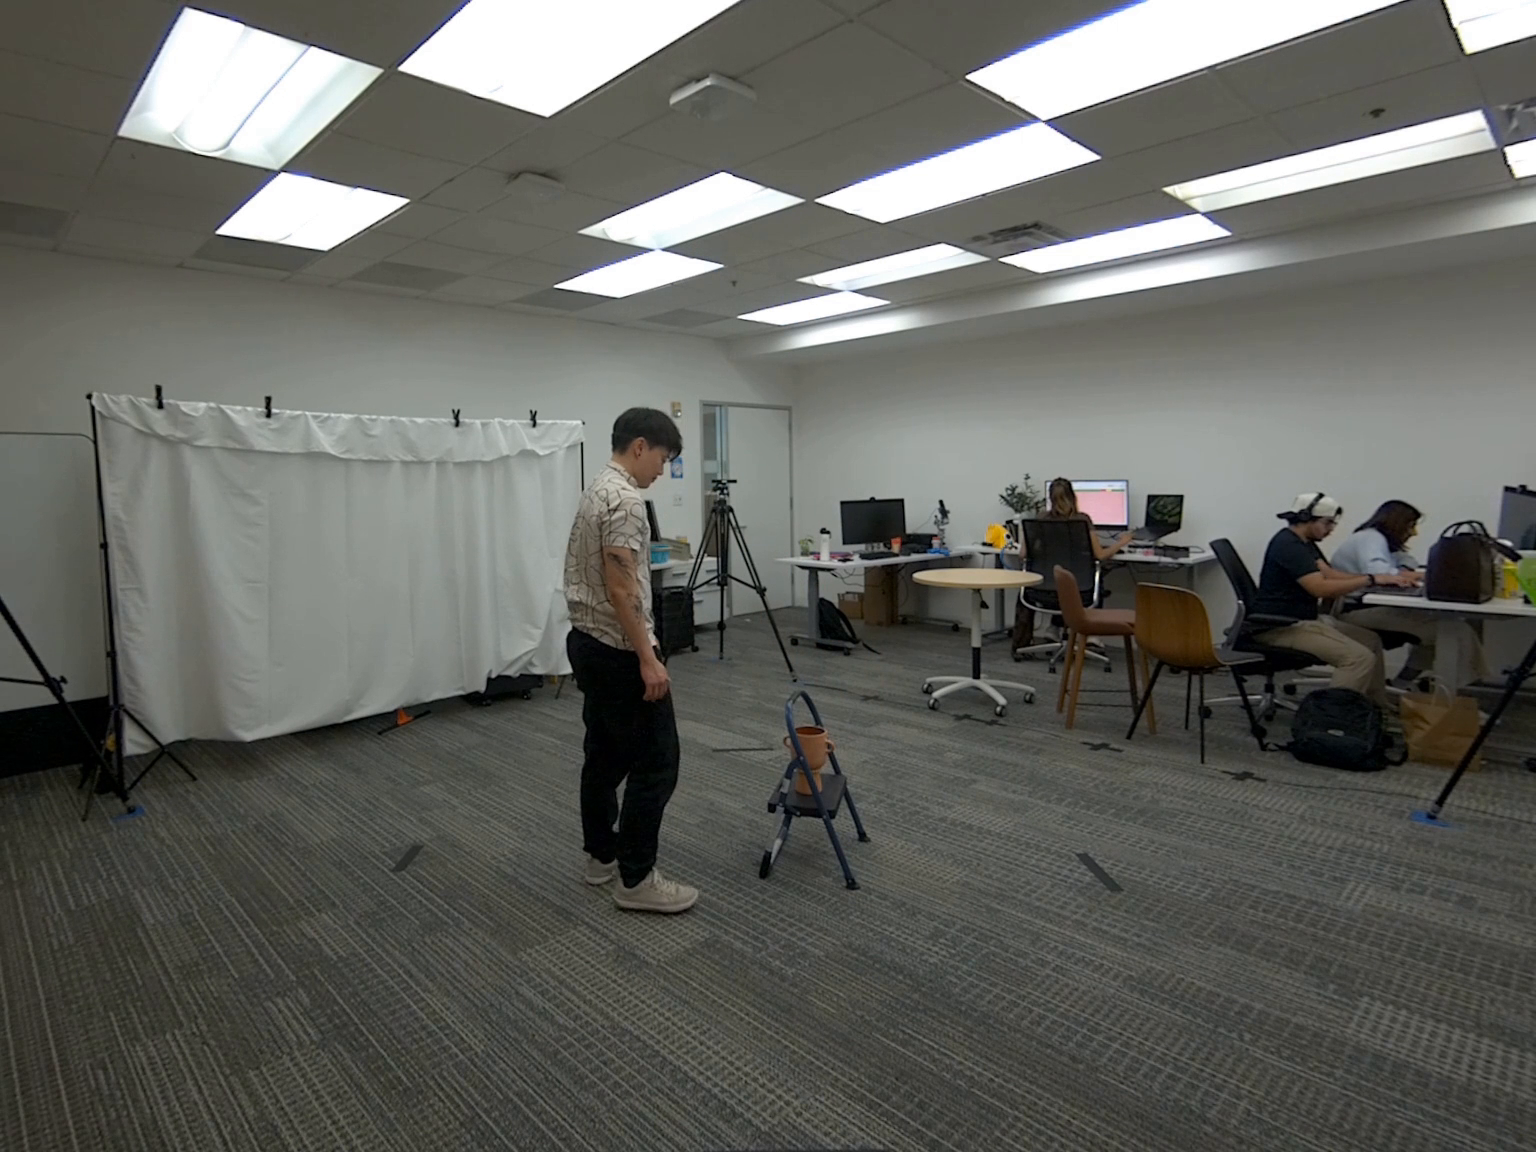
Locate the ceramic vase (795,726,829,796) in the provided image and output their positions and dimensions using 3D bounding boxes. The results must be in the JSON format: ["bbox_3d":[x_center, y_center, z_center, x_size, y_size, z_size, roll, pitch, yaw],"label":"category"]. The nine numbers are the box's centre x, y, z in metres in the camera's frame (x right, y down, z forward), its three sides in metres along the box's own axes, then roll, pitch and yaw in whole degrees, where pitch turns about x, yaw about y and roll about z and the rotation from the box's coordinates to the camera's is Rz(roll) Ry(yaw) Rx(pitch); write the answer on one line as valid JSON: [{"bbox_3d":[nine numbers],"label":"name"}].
[{"bbox_3d":[0.147,0.666,3.104,0.132,0.219,0.163,-3,6,-27],"label":"ceramic vase"}]
